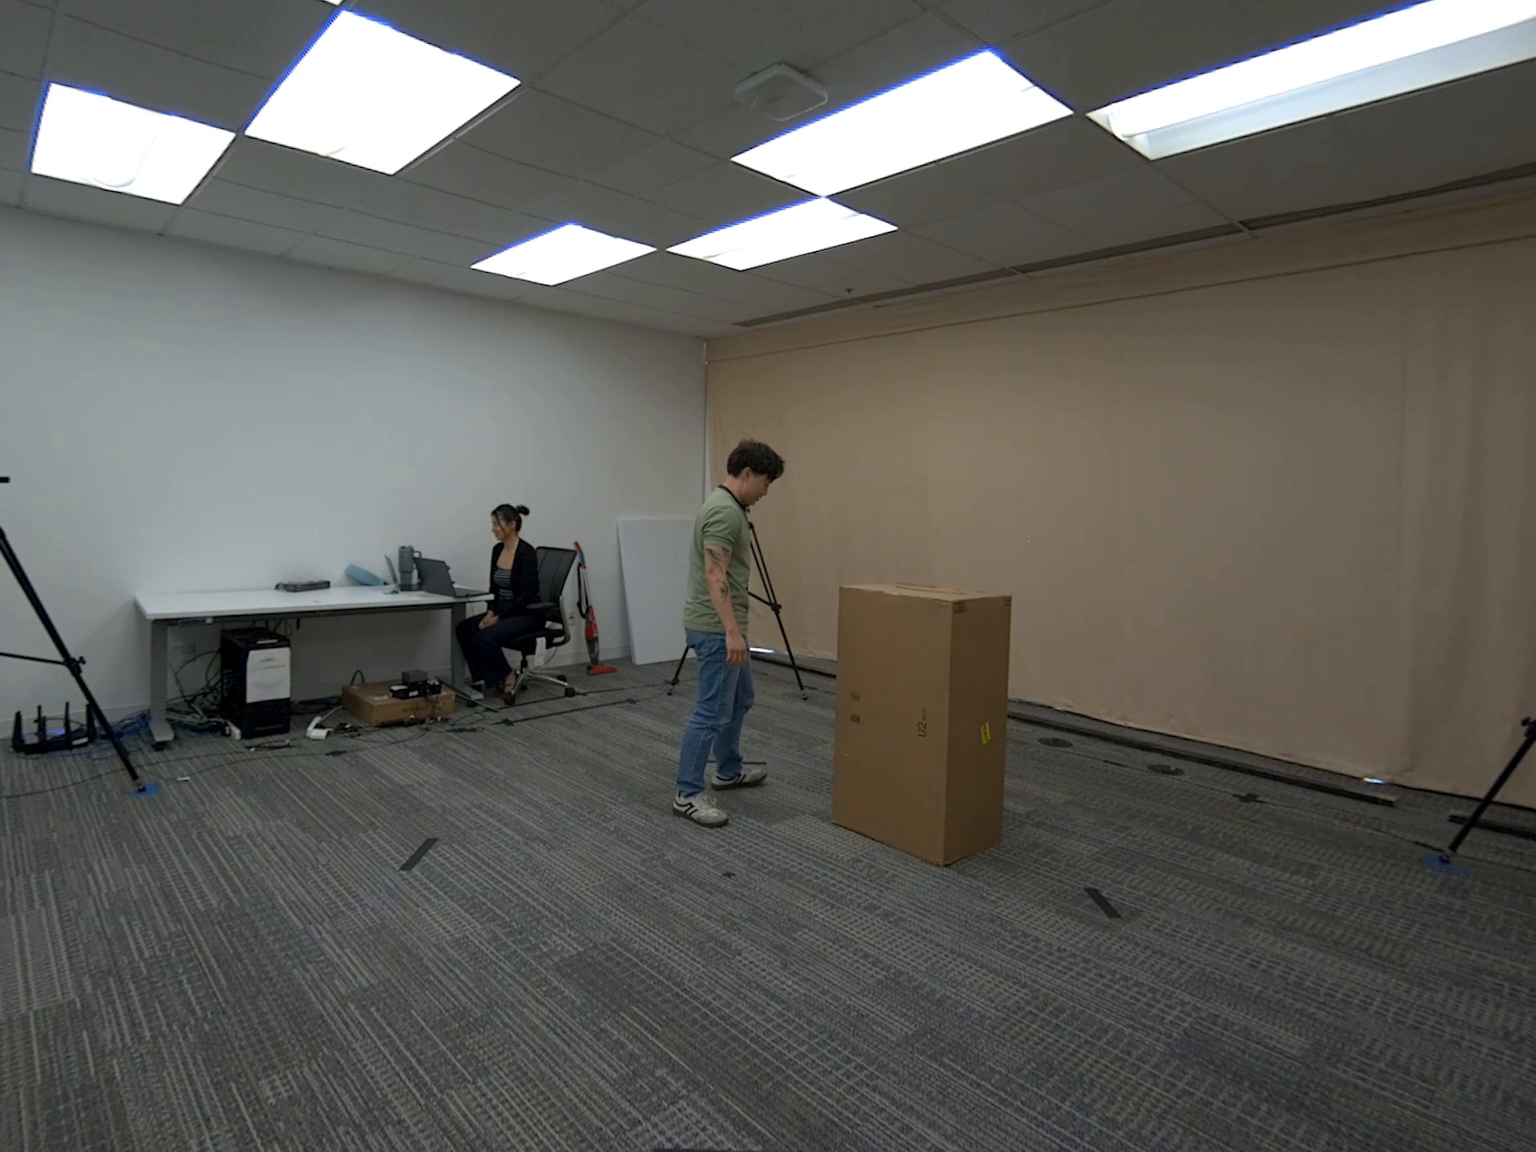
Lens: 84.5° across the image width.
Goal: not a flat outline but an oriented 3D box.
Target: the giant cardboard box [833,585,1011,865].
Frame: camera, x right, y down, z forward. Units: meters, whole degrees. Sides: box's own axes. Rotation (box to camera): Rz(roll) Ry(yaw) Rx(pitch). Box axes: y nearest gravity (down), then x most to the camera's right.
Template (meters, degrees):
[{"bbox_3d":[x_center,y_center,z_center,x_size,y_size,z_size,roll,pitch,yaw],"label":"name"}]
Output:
[{"bbox_3d":[0.629,0.572,3.542,0.416,1.024,0.592,-1,4,-42],"label":"giant cardboard box"}]
